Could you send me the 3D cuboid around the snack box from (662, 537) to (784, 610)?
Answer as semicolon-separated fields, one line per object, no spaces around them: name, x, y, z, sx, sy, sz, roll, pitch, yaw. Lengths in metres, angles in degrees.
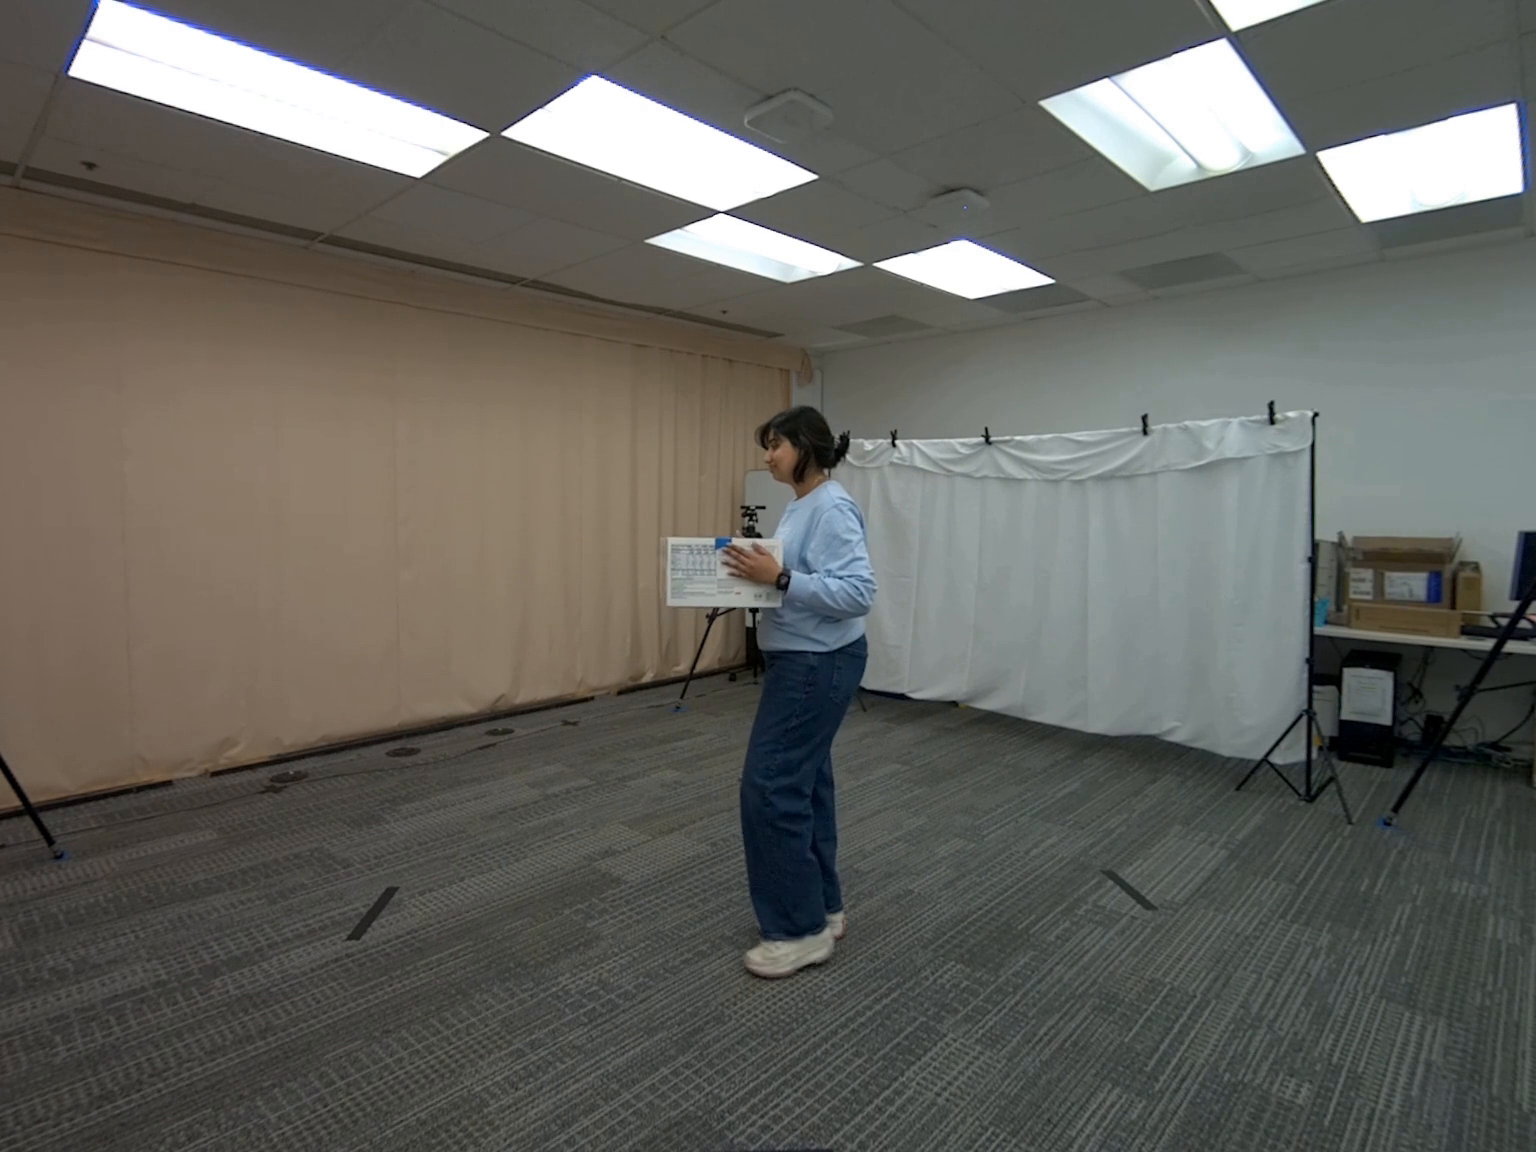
snack box;-0.156;-0.013;2.628;0.338;0.205;0.408;1;1;-7
